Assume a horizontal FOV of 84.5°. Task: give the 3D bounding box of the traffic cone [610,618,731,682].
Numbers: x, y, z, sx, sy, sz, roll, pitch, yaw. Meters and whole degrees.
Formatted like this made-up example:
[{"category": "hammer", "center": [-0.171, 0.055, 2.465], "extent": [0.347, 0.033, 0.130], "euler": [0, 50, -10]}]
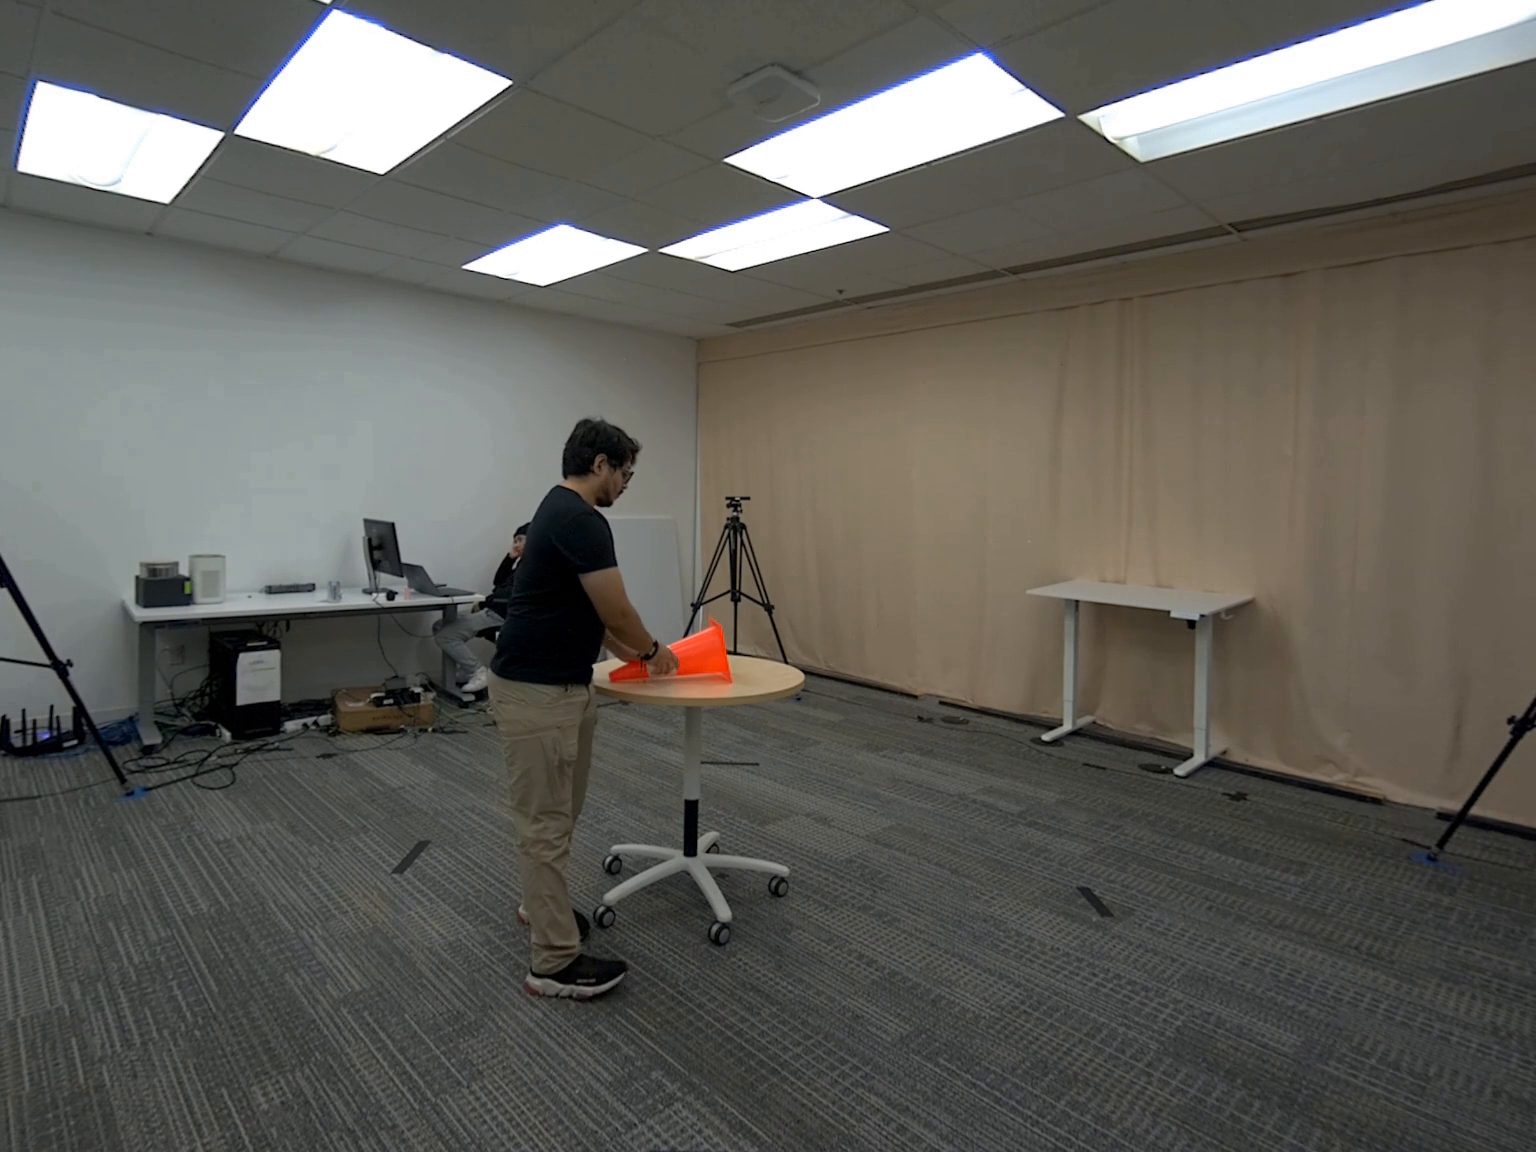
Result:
[{"category": "traffic cone", "center": [-0.348, 0.283, 2.796], "extent": [0.381, 0.202, 0.208], "euler": [-11, 10, -11]}]
